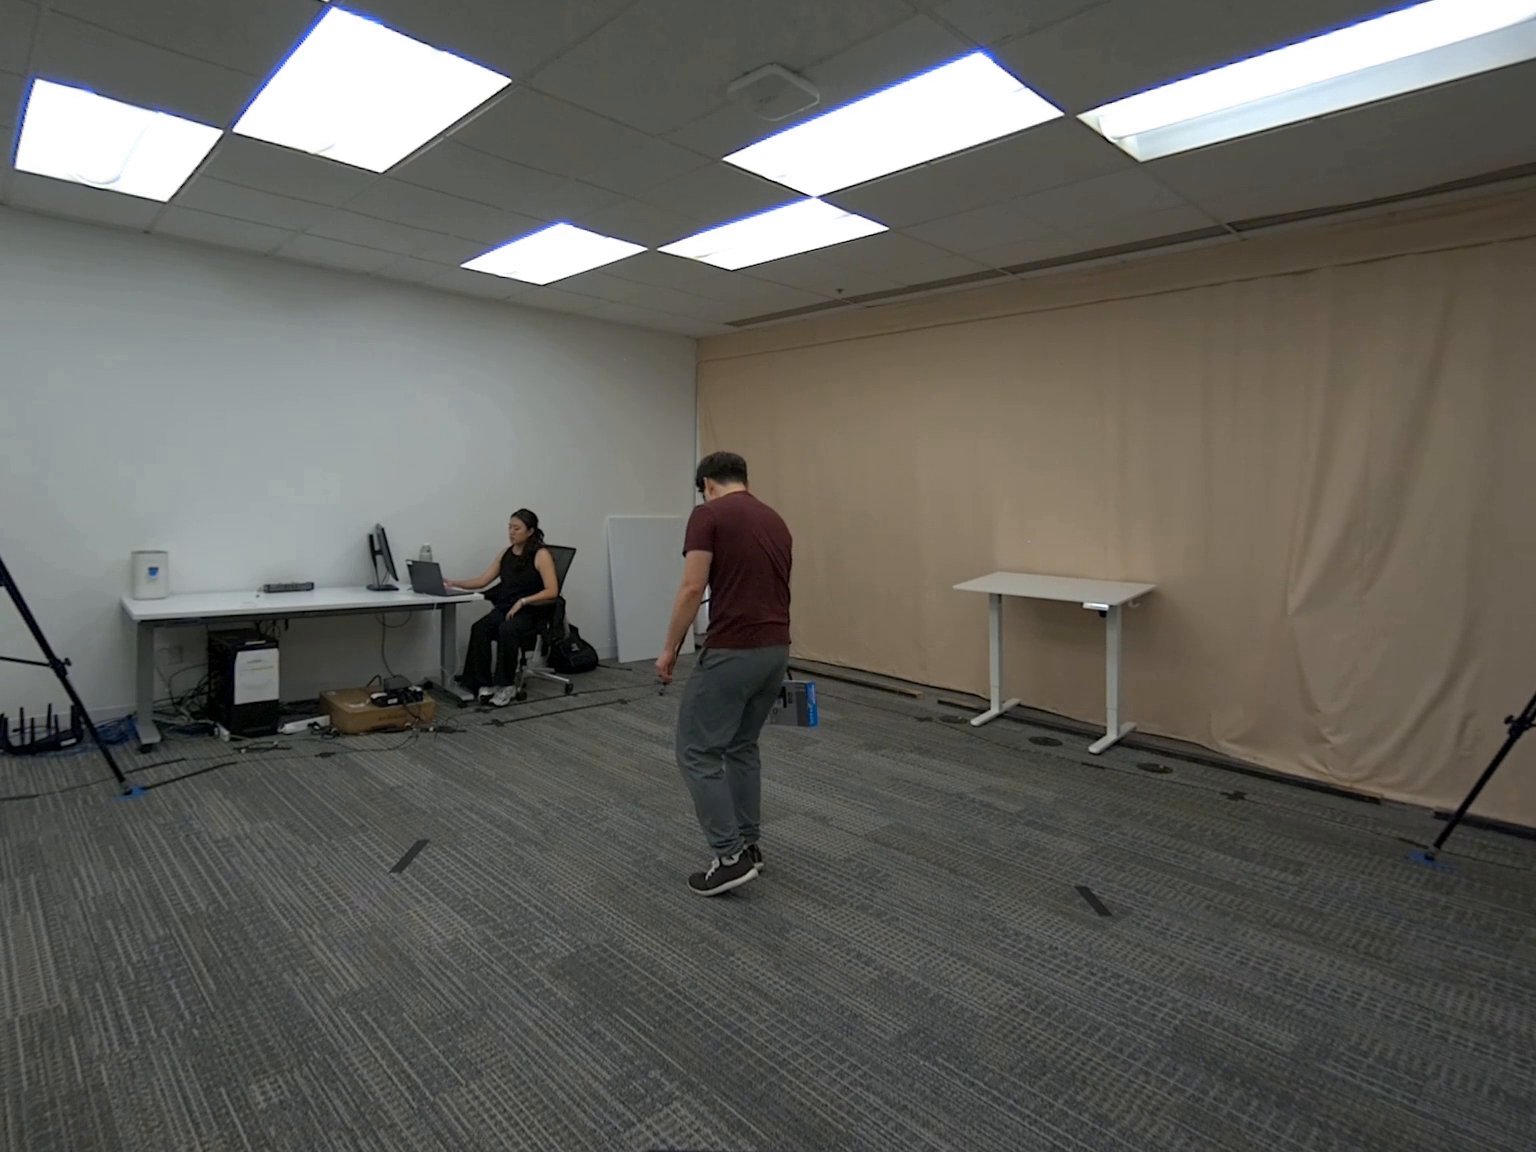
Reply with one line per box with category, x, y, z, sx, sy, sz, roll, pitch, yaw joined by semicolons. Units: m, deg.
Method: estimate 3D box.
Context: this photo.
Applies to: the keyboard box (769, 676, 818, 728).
keyboard box;-0.004;0.519;3.411;0.446;0.176;0.058;-4;-2;41
